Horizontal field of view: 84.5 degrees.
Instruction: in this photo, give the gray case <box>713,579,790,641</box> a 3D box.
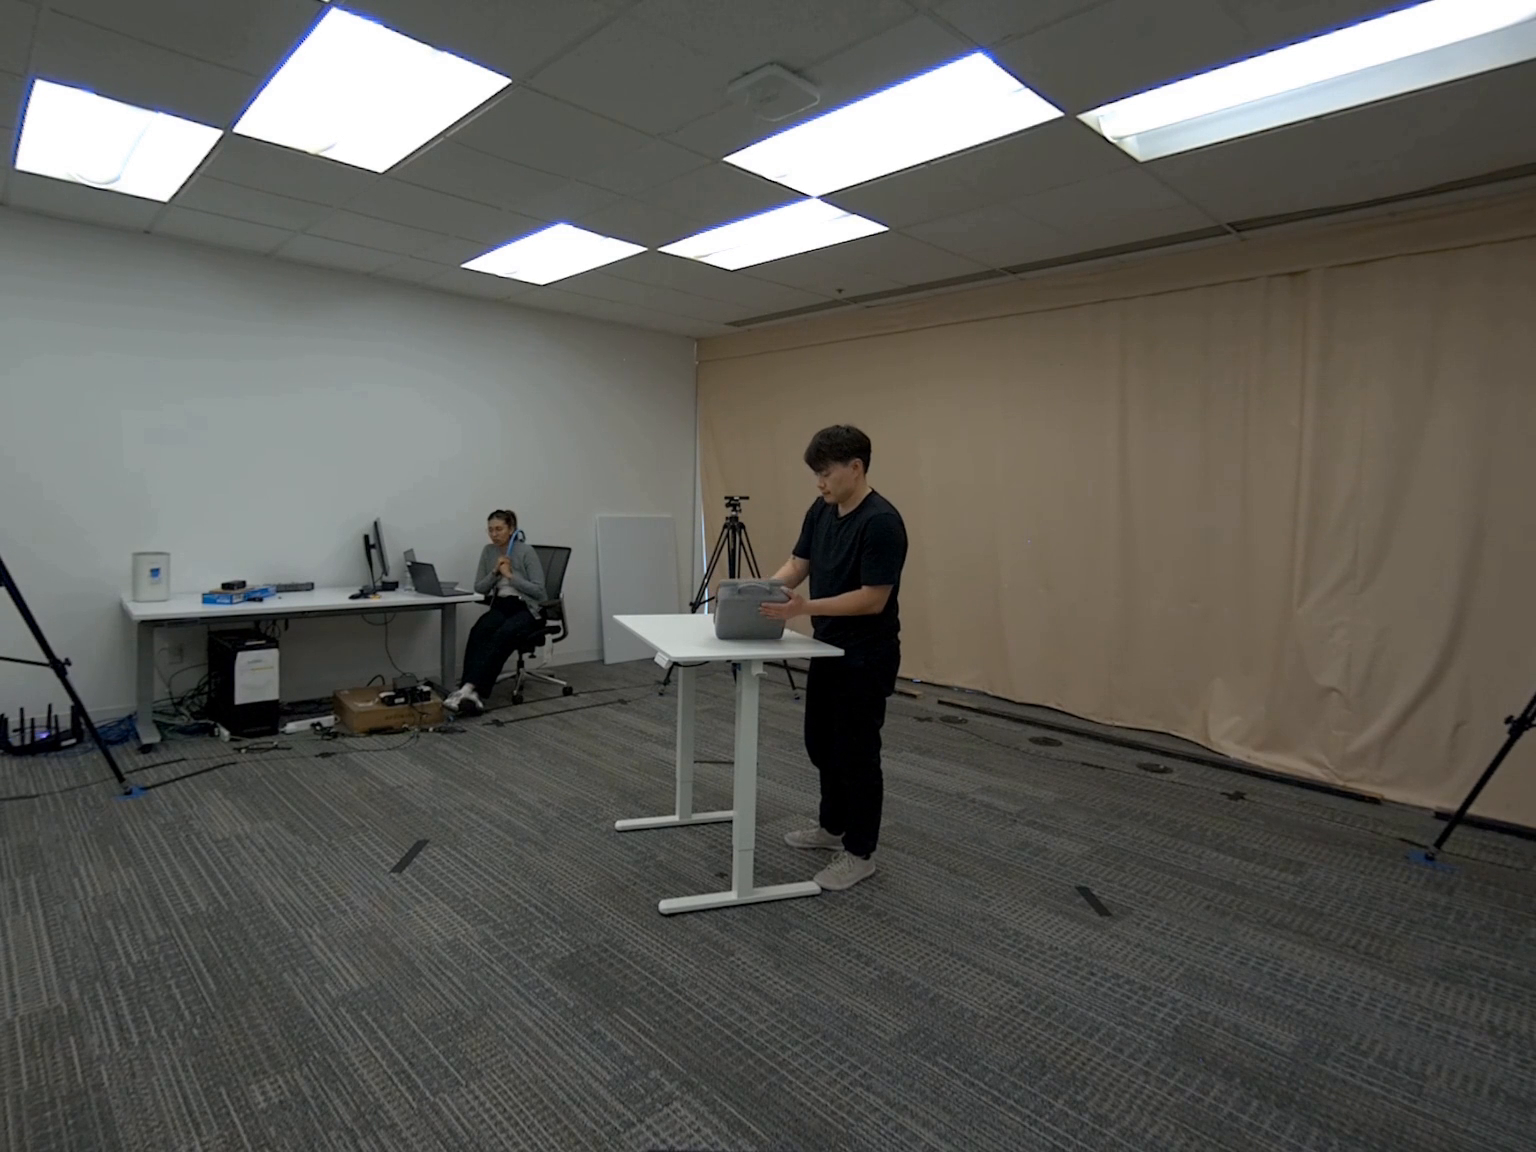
[{"bbox_3d":[-0.060,0.121,2.959,0.256,0.107,0.256,1,-38,-5],"label":"gray case"}]
